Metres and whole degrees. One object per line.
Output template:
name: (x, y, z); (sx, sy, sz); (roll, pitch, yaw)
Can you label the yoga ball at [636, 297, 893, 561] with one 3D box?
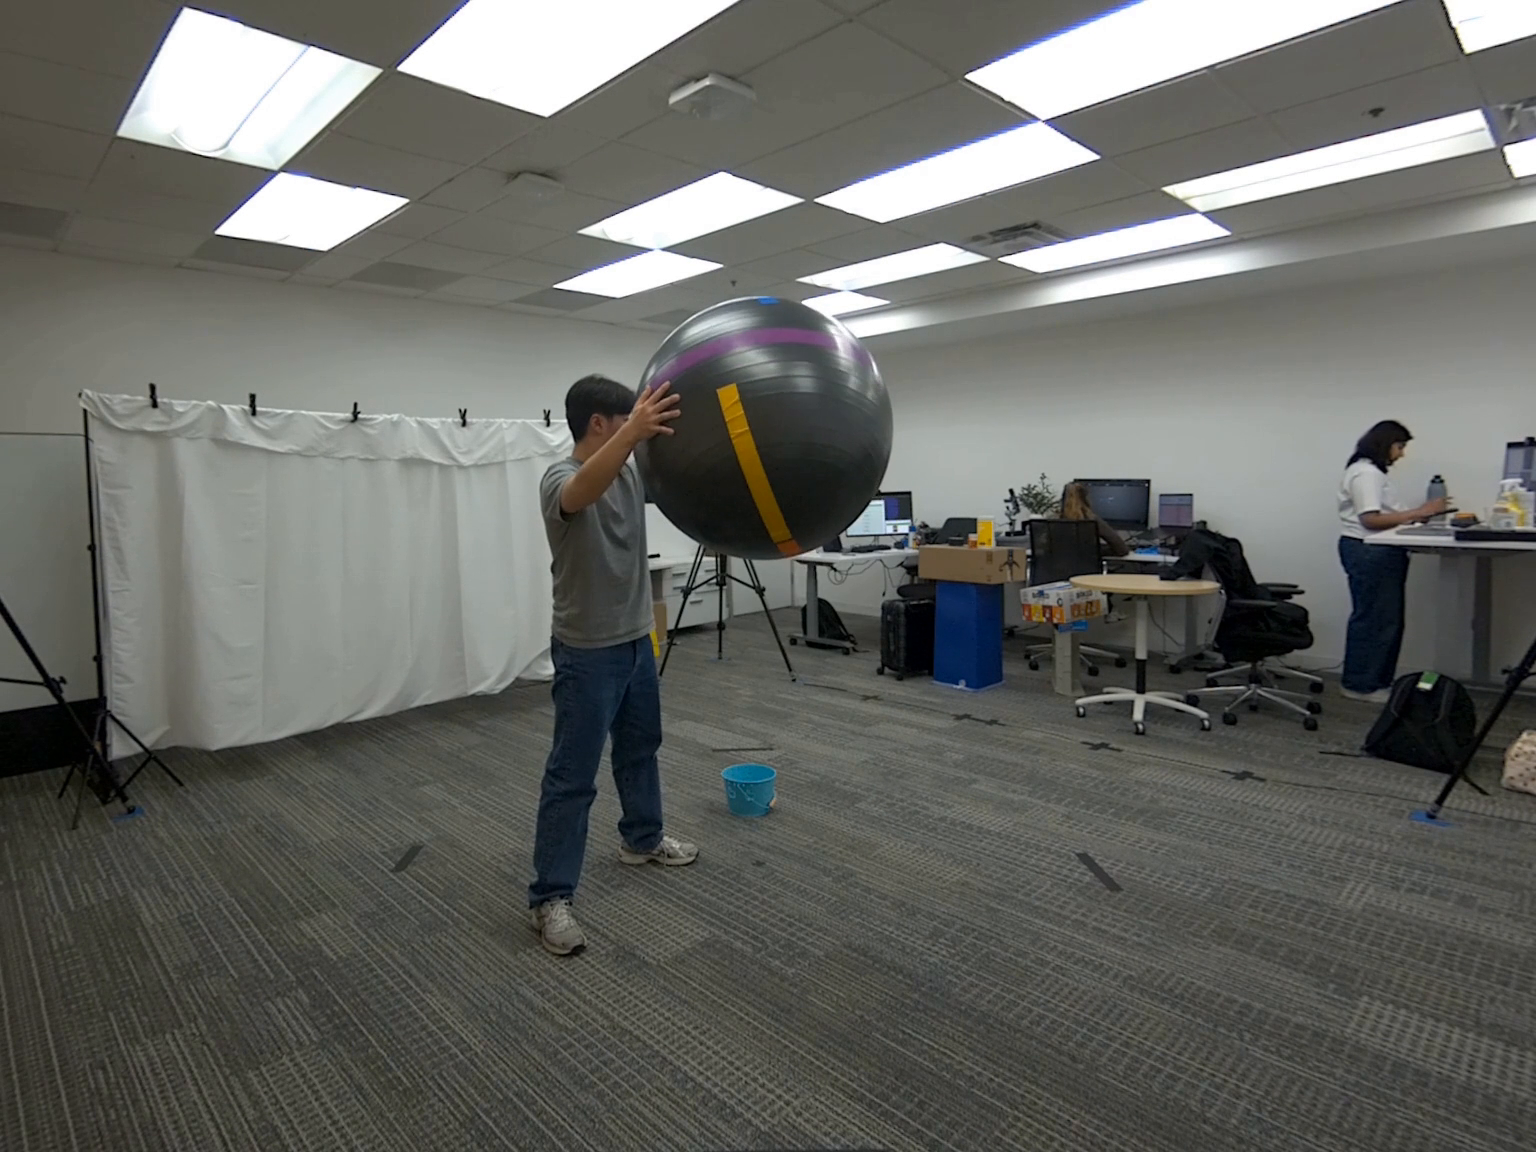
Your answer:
yoga ball: (-0.016, -0.407, 2.485); (0.757, 0.755, 0.762); (-1, 5, -2)
